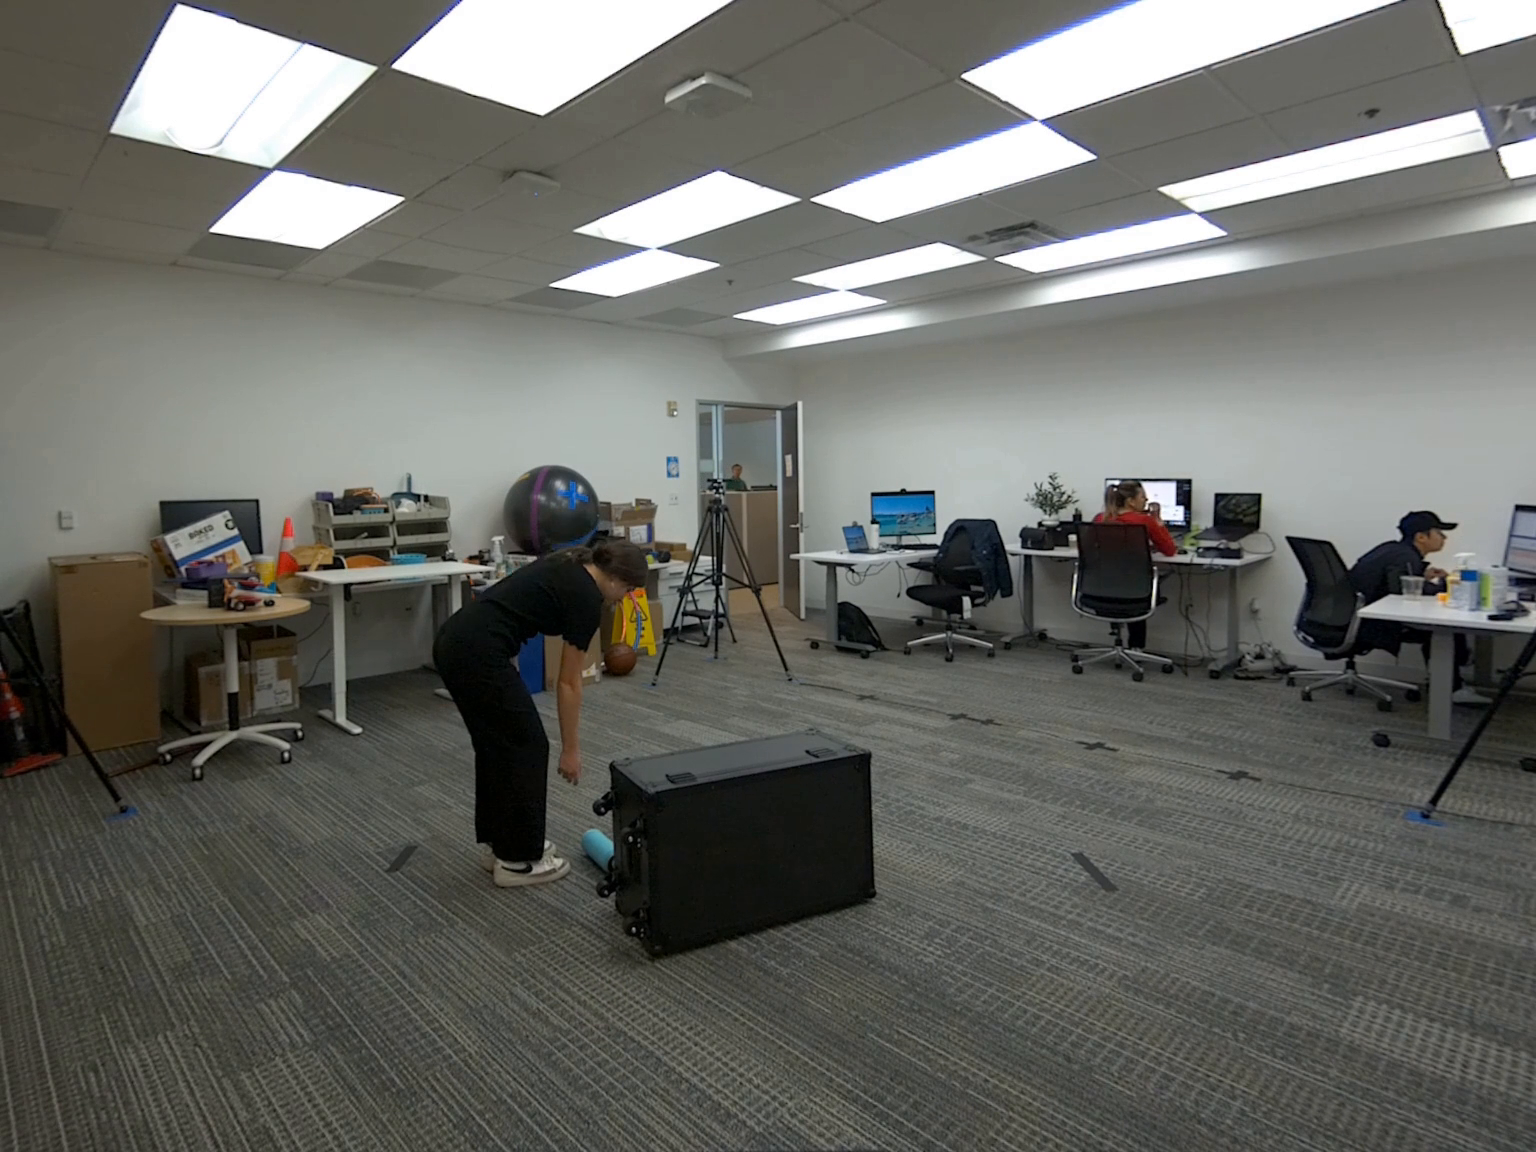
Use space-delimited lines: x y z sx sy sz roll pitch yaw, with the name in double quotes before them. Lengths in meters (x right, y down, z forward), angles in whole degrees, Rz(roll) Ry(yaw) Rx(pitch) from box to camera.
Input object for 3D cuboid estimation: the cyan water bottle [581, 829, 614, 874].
"cyan water bottle" -0.585 1.004 3.102 0.090 0.092 0.292 -4 7 -33
